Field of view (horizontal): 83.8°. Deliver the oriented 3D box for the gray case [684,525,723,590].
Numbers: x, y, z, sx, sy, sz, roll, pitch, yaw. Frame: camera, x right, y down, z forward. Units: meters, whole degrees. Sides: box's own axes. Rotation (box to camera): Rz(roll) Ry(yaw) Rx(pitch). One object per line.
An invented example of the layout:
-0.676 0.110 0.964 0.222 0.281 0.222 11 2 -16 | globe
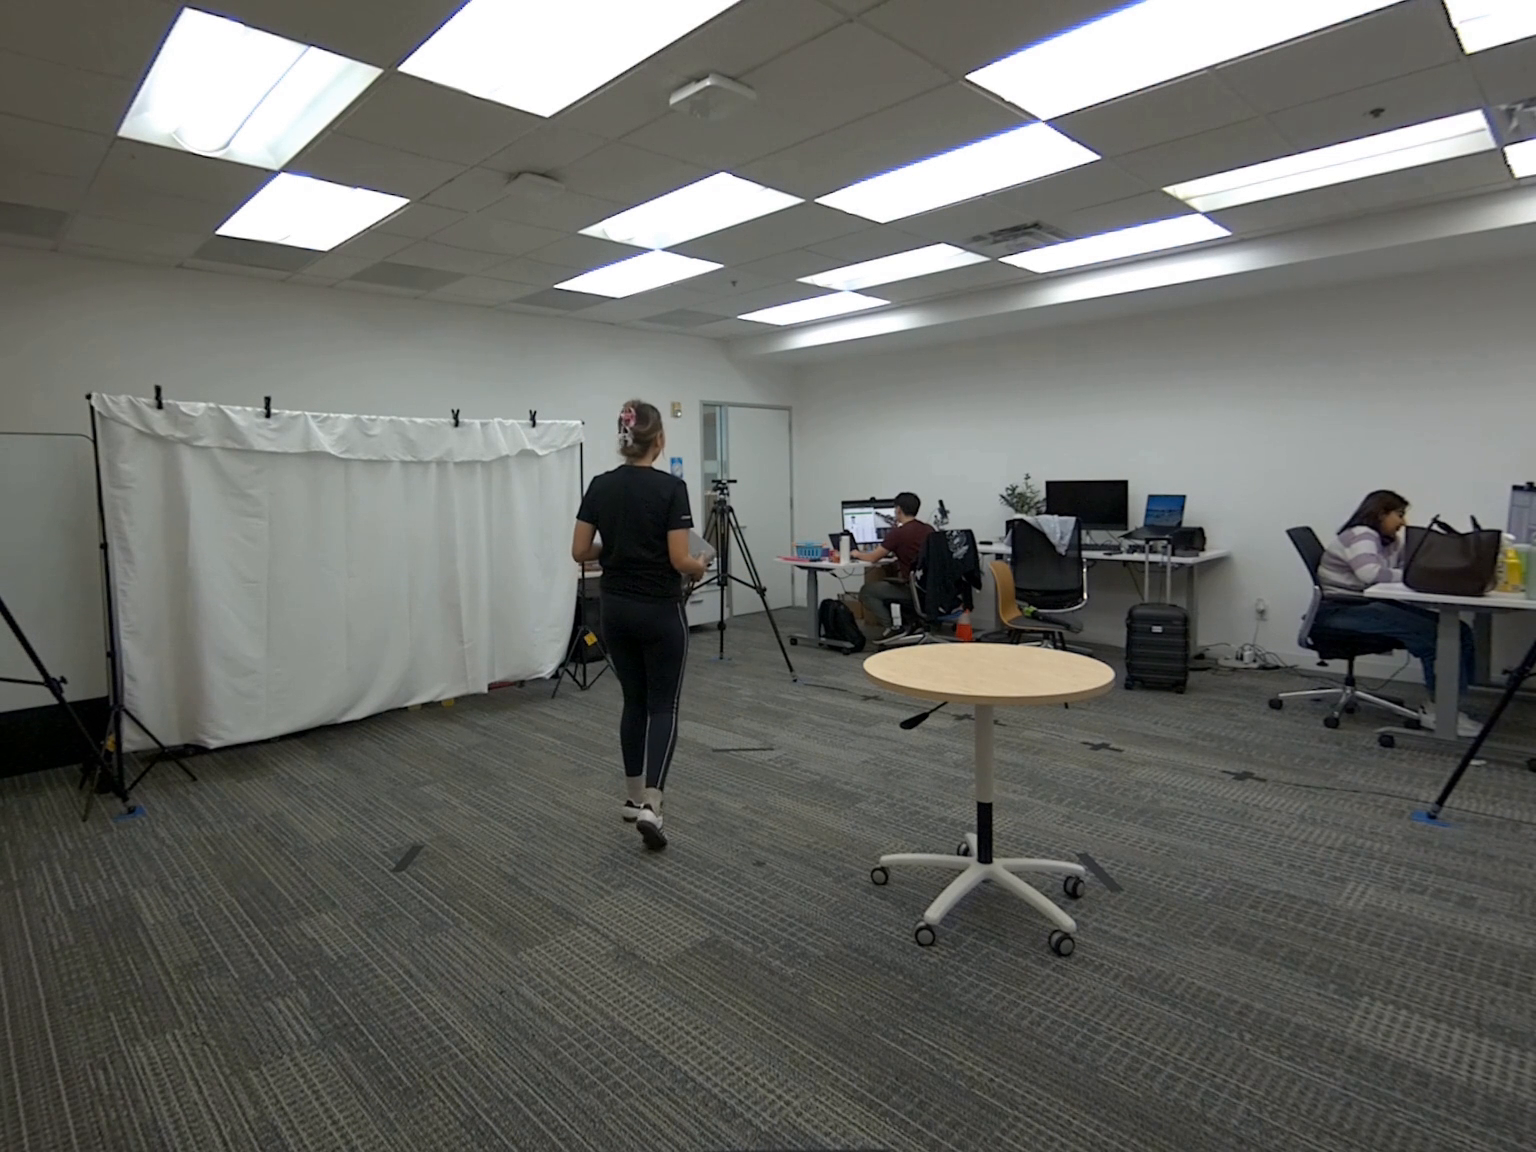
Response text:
-0.386 -0.096 3.712 0.267 0.102 0.255 41 54 20 | gray case
